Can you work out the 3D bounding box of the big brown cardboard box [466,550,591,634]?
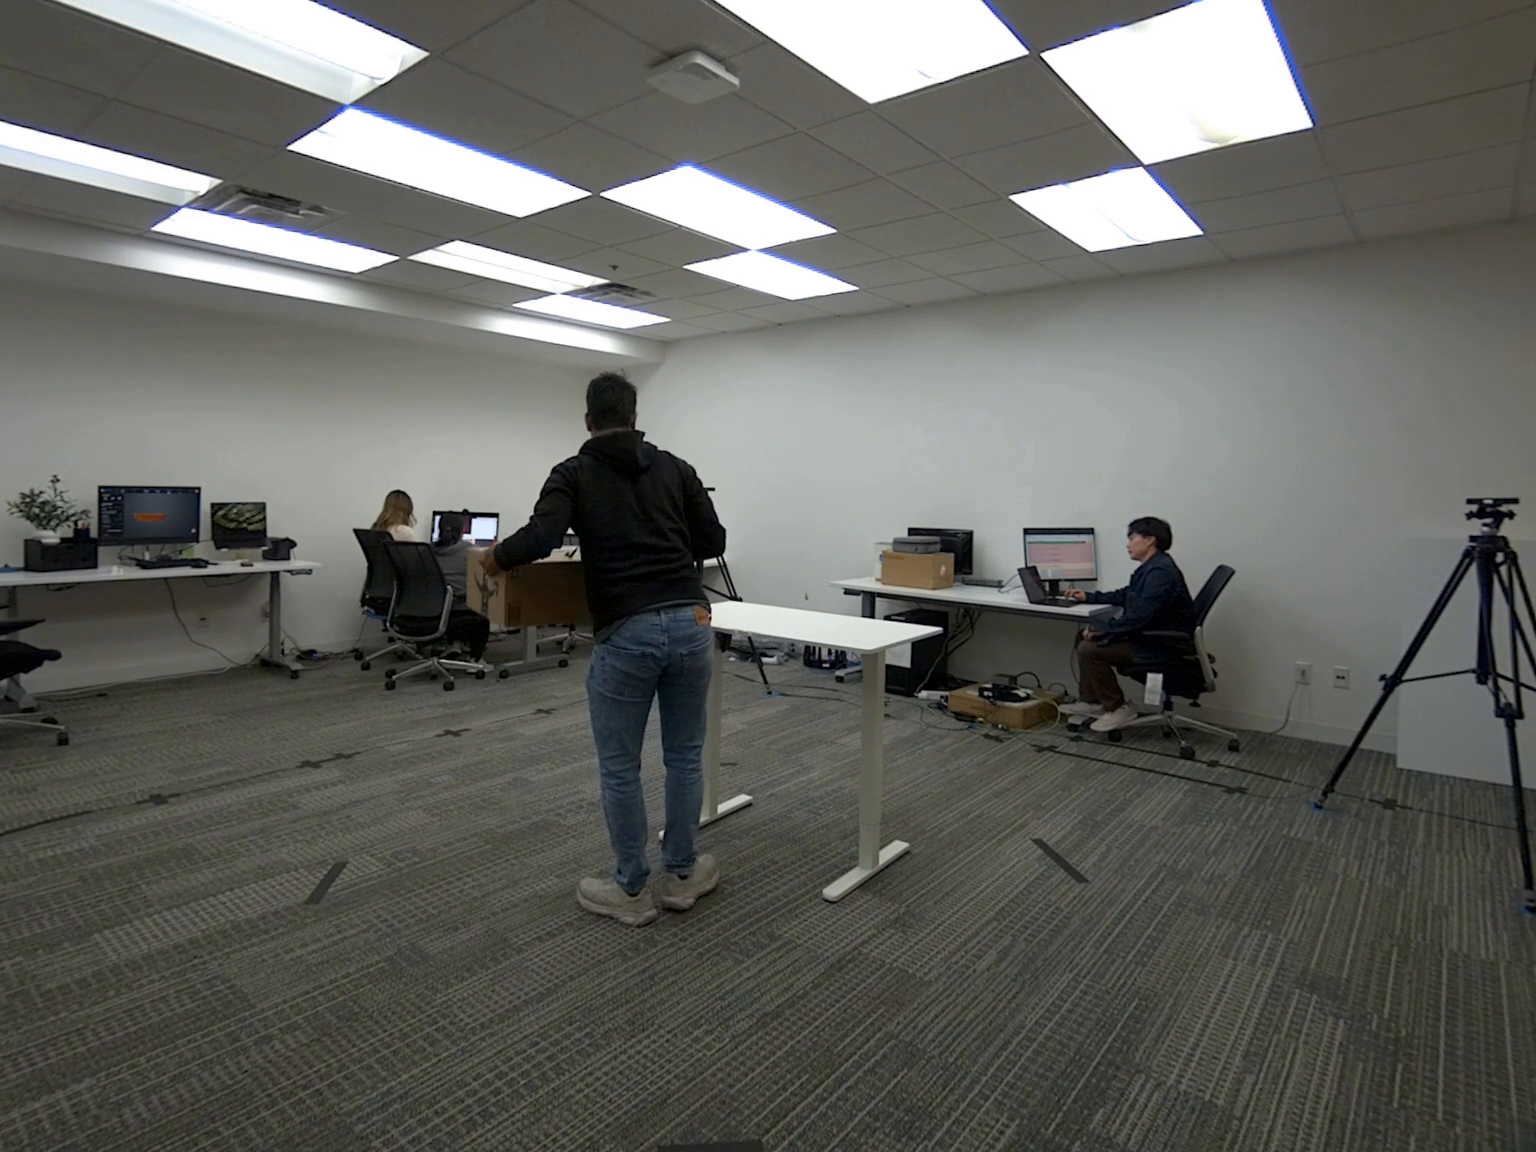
[{"bbox_3d":[-0.734,0.027,3.049,0.572,0.232,0.432,-4,9,-35],"label":"big brown cardboard box"}]
